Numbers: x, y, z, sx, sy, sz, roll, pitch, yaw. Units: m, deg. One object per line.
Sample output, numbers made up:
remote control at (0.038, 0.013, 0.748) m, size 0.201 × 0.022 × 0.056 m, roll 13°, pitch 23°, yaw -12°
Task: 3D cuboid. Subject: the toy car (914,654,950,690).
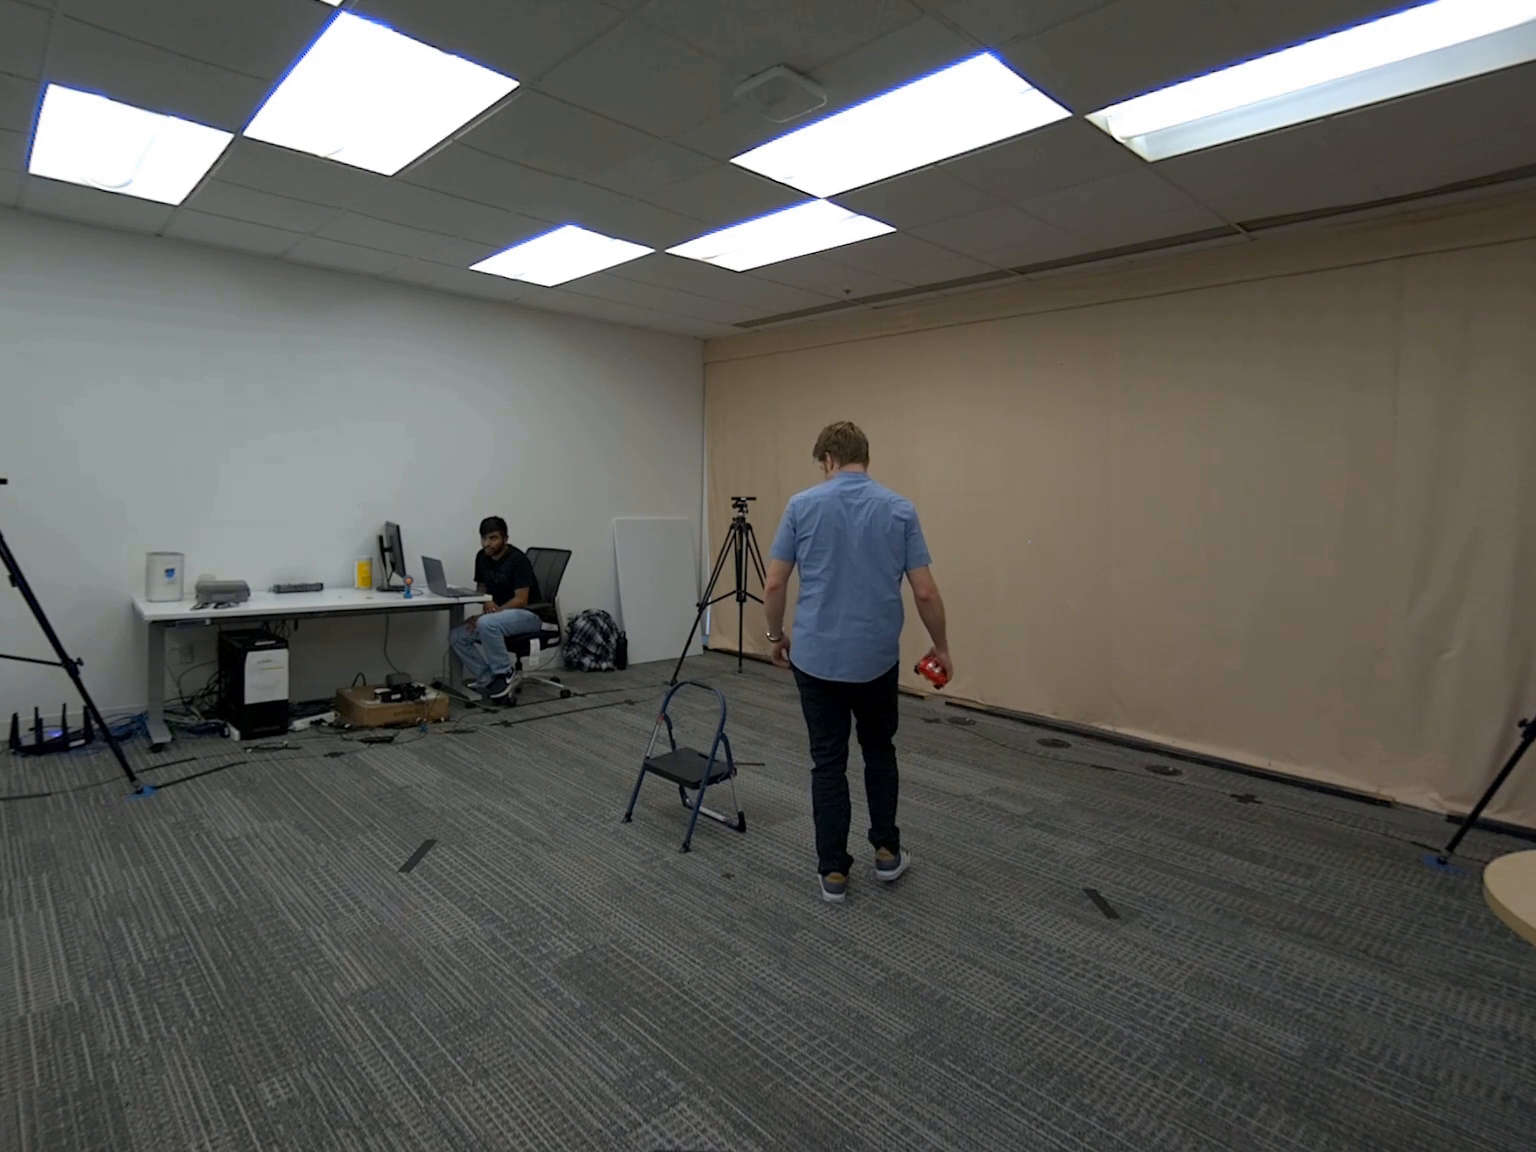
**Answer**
toy car at (0.608, 0.353, 3.144) m, size 0.132 × 0.083 × 0.251 m, roll 37°, pitch 5°, yaw 13°
